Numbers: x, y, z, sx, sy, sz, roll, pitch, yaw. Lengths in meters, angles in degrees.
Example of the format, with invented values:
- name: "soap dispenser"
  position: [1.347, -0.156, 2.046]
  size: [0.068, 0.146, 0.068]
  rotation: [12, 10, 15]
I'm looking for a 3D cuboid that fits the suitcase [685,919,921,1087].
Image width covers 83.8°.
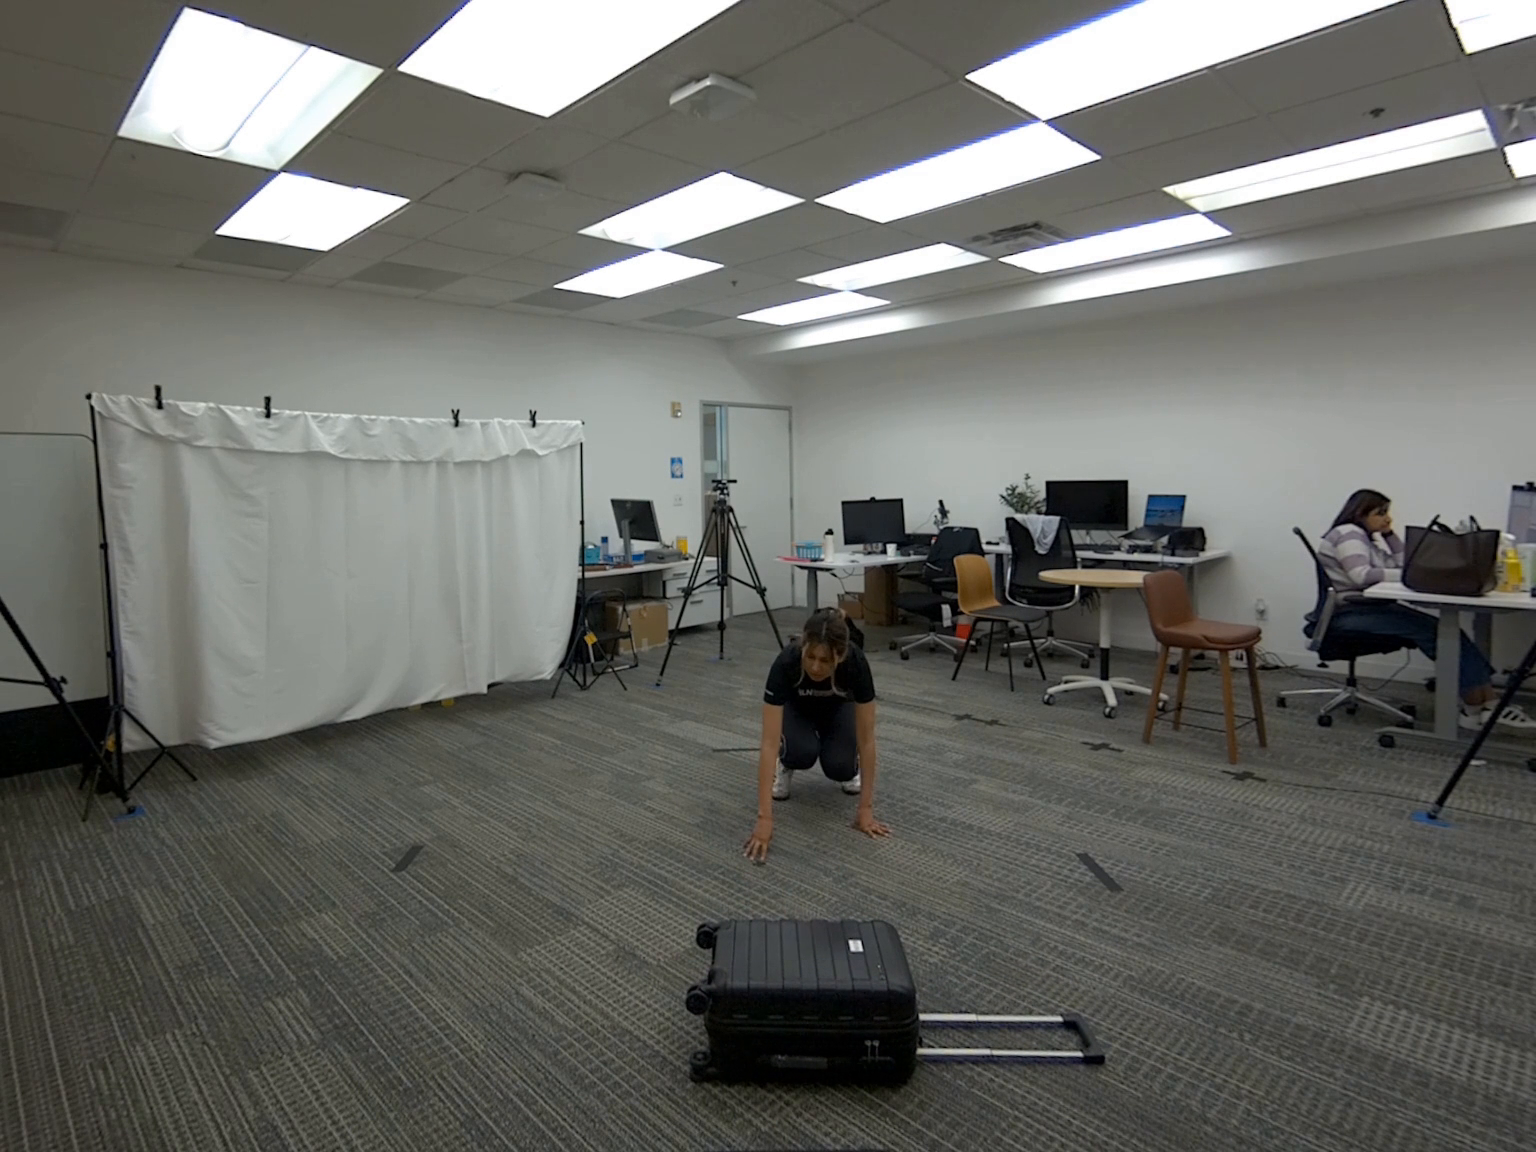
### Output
- name: "suitcase"
  position: [0.299, 1.037, 2.102]
  size: [0.981, 0.256, 0.384]
  rotation: [-2, 4, 3]
